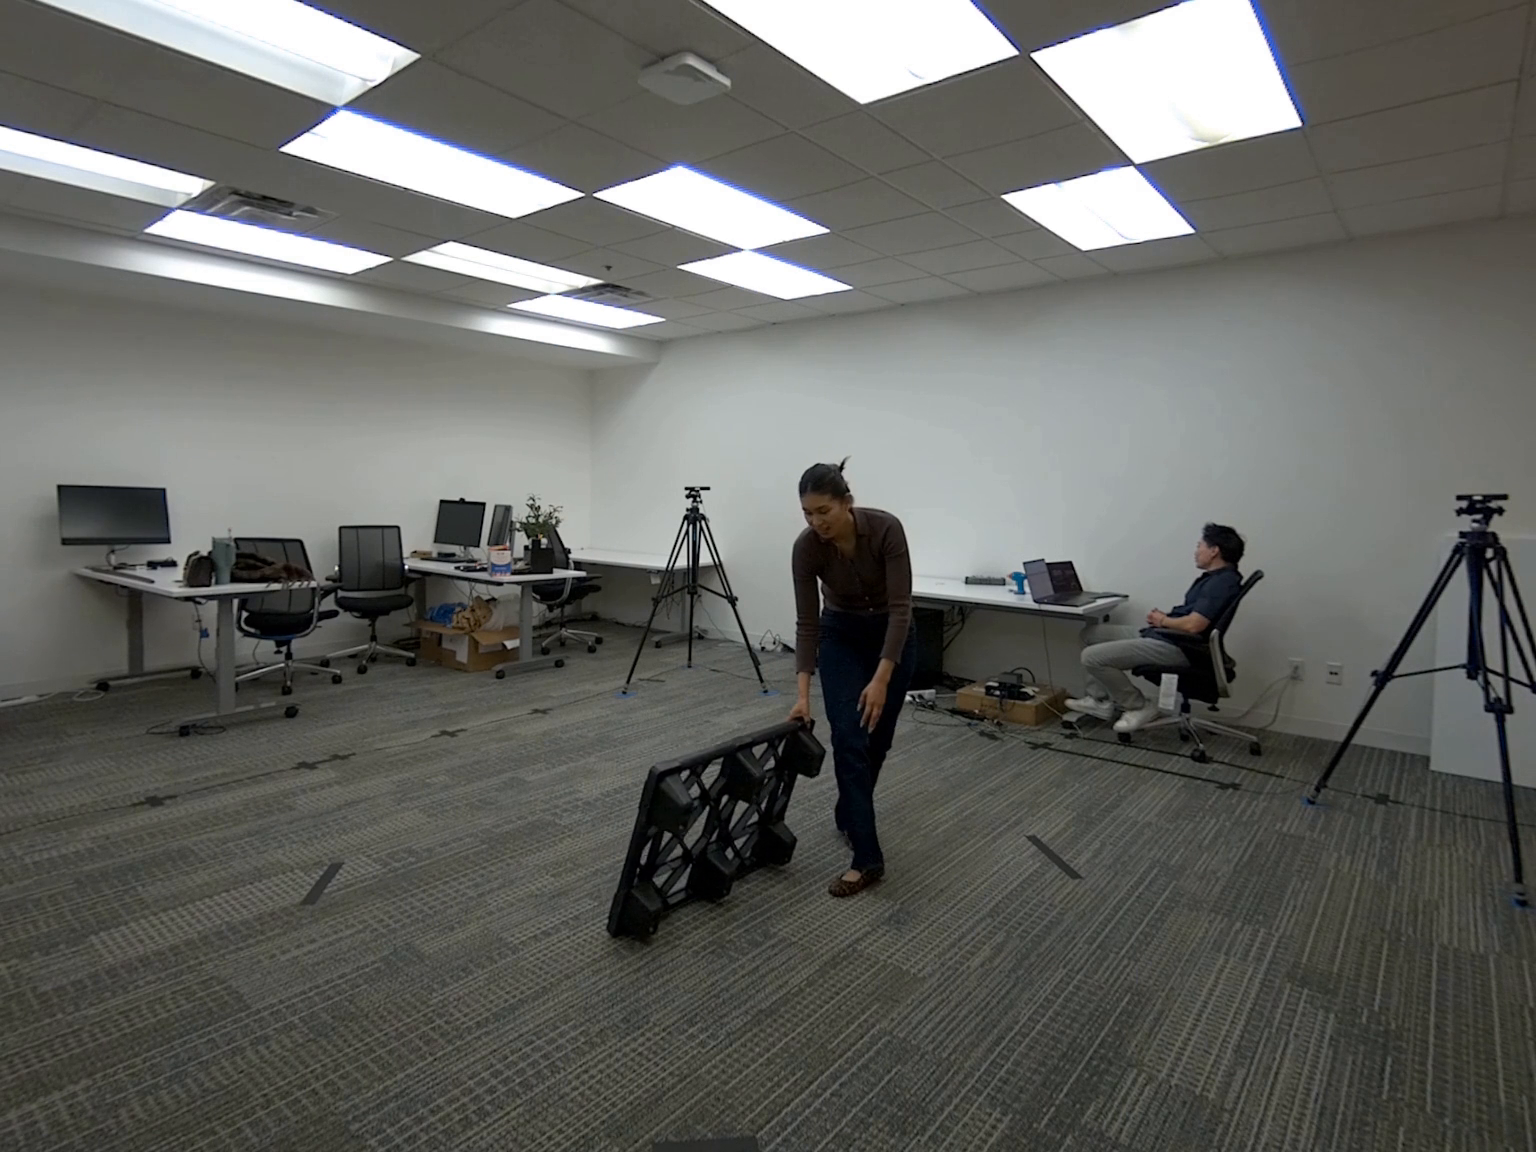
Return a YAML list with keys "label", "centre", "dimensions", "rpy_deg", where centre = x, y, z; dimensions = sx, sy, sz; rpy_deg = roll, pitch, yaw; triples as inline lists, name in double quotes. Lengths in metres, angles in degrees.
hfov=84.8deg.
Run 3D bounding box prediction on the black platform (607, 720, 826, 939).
- label: "black platform"
  centre: [-0.145, 0.829, 2.805]
  dimensions: [0.149, 0.599, 0.782]
  rpy_deg: [26, 19, 35]
